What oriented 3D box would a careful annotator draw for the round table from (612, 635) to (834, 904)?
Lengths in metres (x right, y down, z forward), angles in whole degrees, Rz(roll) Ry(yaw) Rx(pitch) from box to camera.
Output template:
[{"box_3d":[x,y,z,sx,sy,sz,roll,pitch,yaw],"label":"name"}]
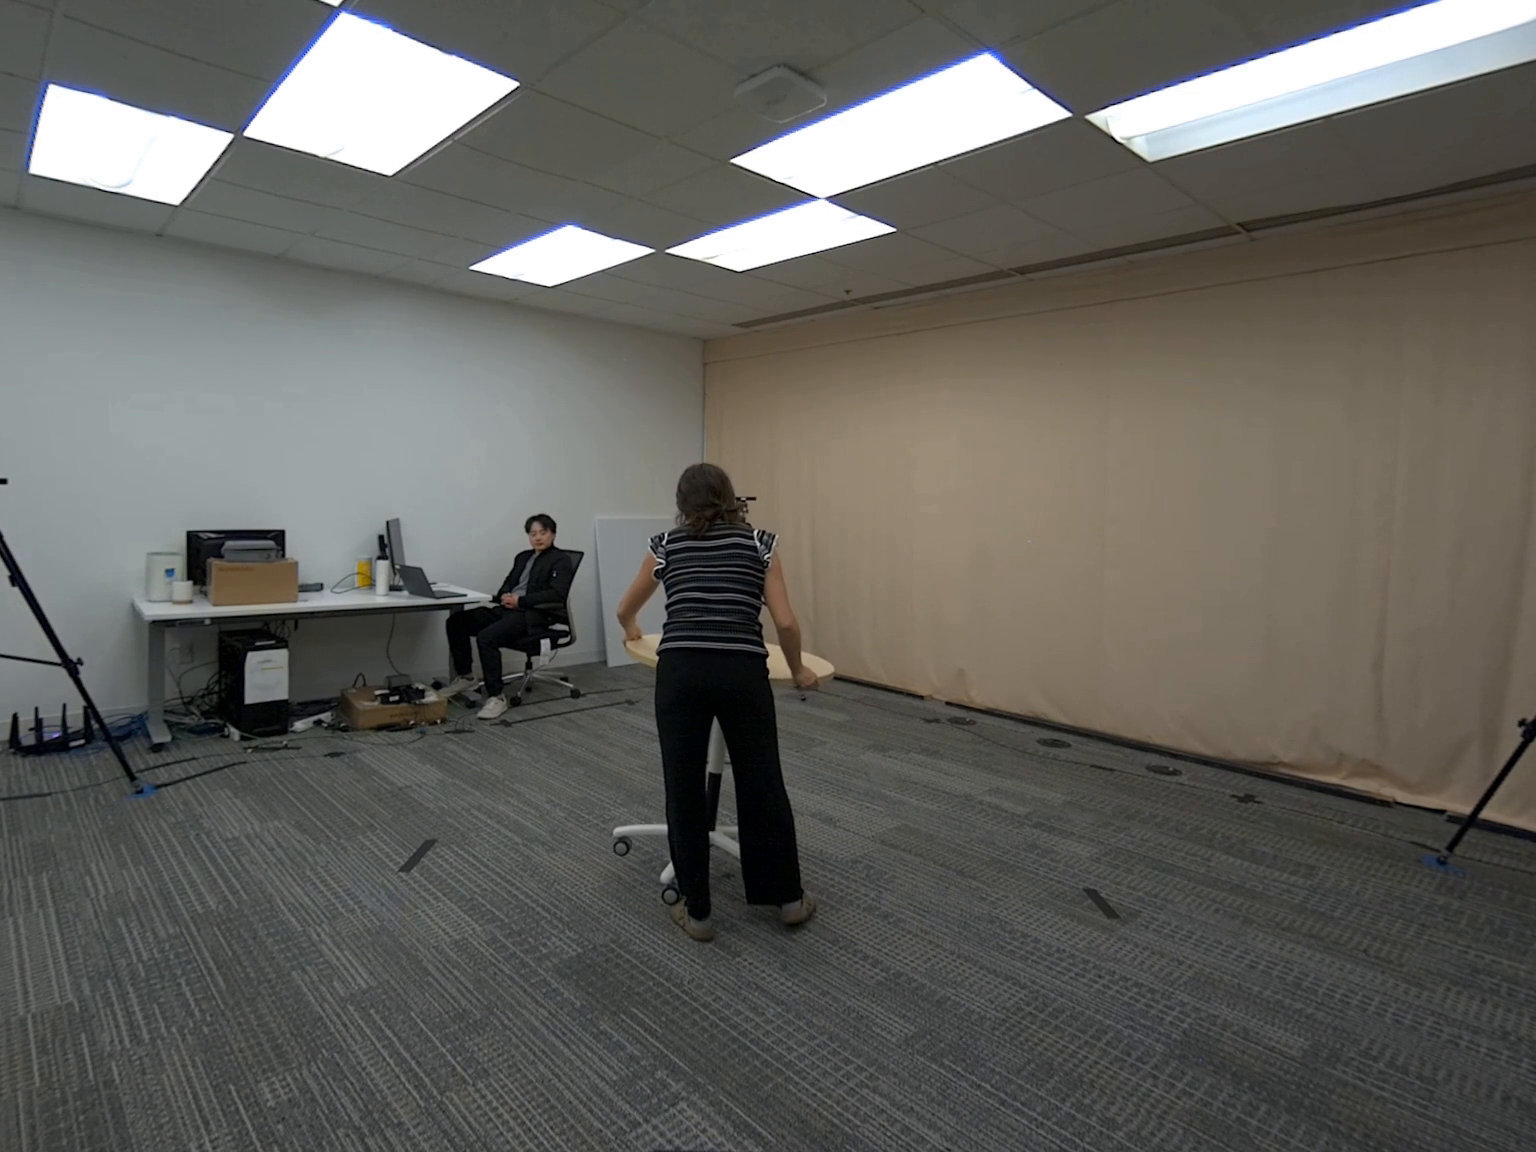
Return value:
[{"box_3d":[-0.194,0.686,3.113,0.763,0.792,0.766,7,3,-2],"label":"round table"}]
